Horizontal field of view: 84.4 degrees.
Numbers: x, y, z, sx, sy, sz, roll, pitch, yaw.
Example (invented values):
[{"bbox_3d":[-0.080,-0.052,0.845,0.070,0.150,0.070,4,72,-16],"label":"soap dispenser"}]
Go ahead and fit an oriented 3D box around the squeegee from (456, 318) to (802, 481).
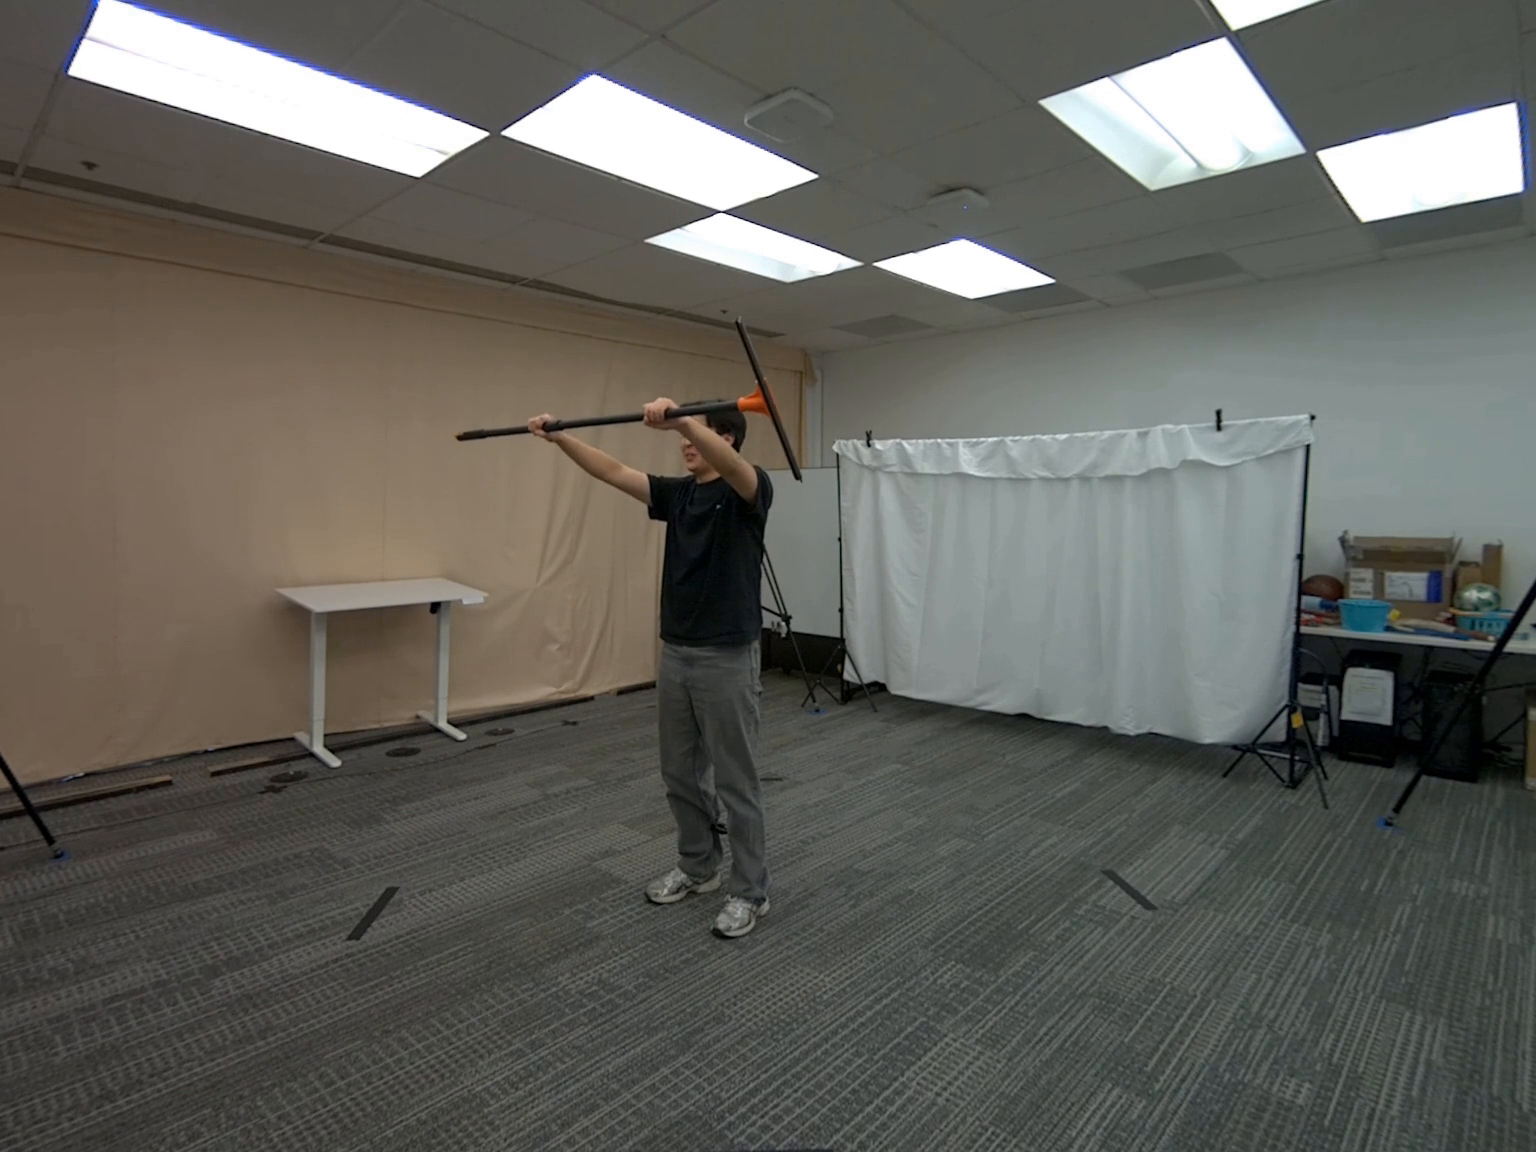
[{"bbox_3d":[-0.570,-0.457,2.565,1.589,0.428,0.052,4,36,43],"label":"squeegee"}]
